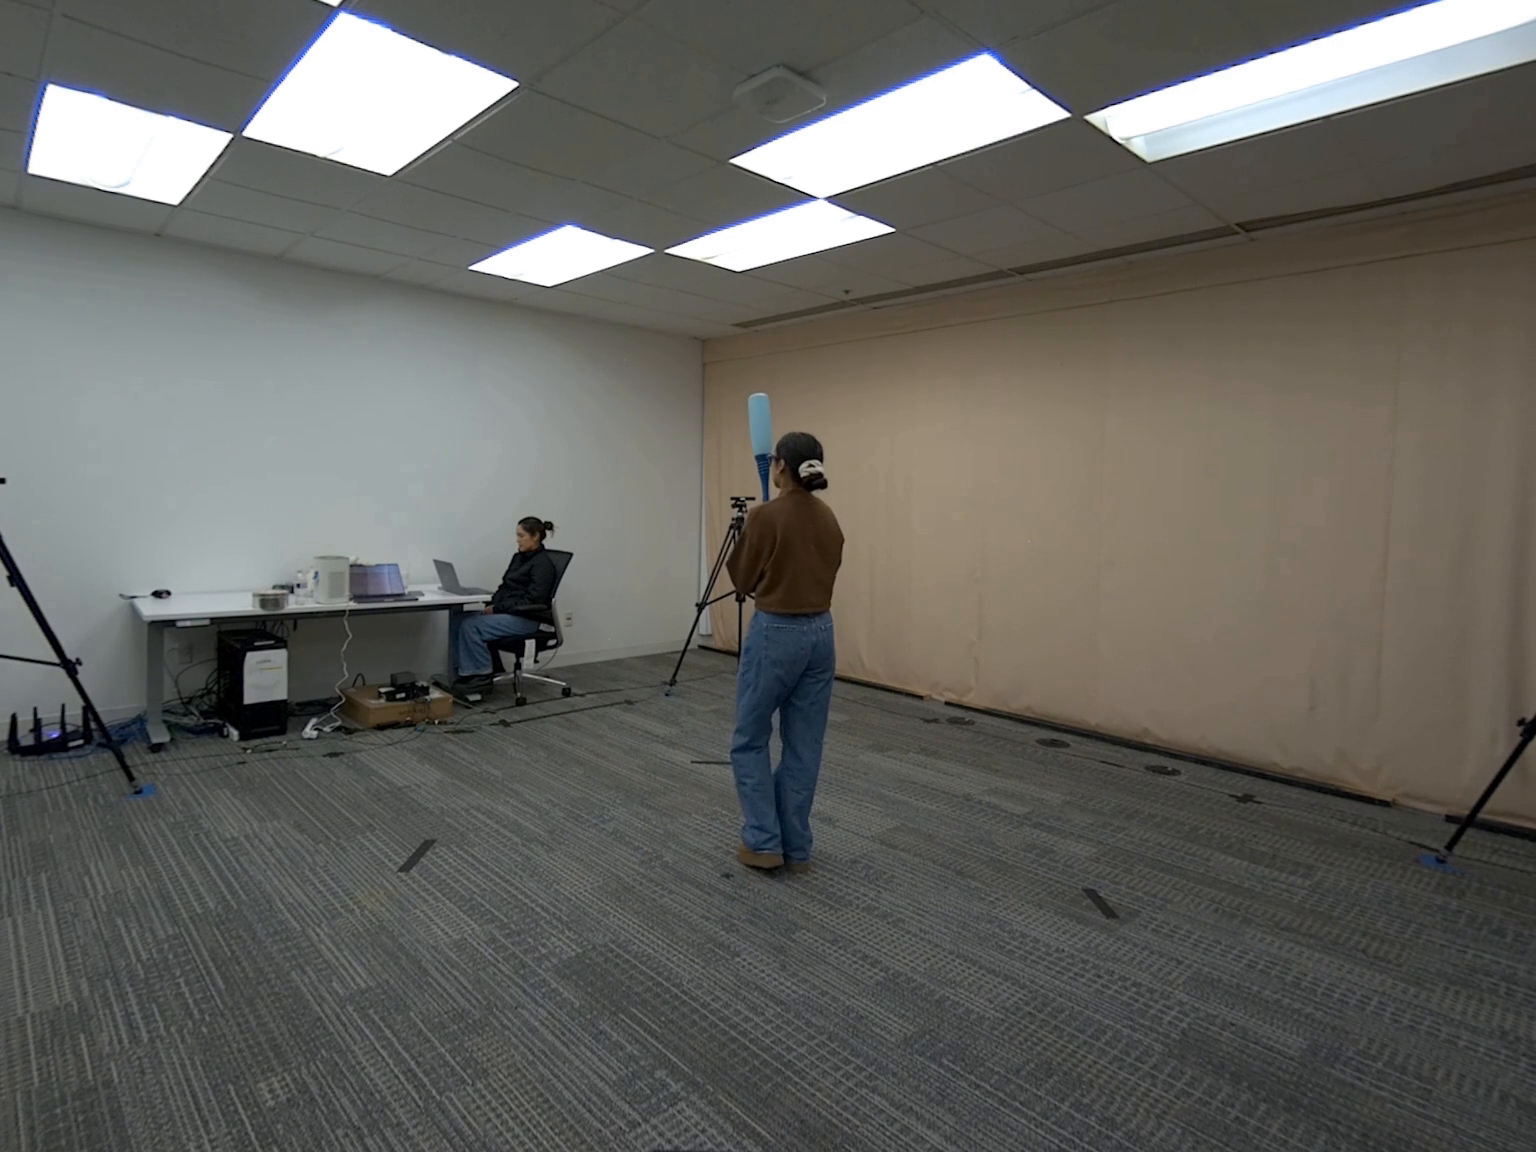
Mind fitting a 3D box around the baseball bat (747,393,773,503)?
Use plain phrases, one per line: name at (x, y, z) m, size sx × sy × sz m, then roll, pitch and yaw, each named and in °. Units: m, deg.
baseball bat at (-0.027, -0.463, 3.356) m, size 0.089 × 0.546 × 0.088 m, roll -3°, pitch -7°, yaw -2°
